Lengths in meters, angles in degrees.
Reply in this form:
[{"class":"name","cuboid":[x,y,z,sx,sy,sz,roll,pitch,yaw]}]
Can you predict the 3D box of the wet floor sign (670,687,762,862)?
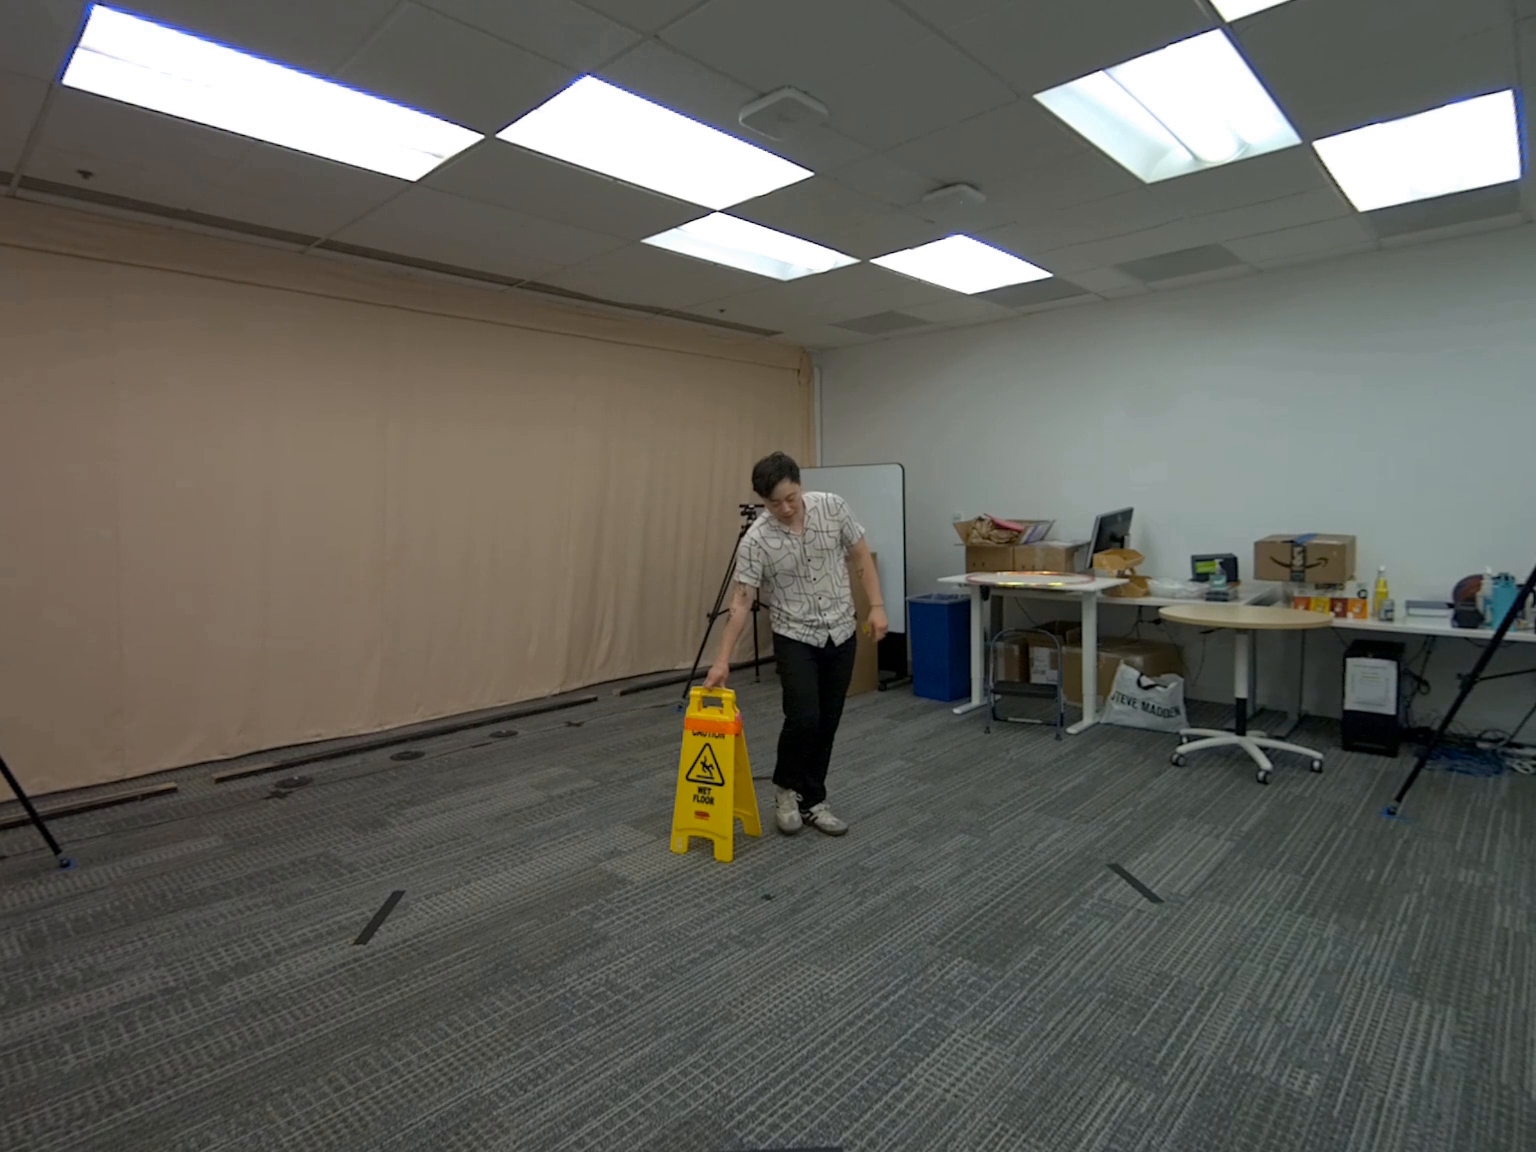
[{"class":"wet floor sign","cuboid":[-0.215,0.777,3.452,0.289,0.644,0.283,0,4,26]}]
